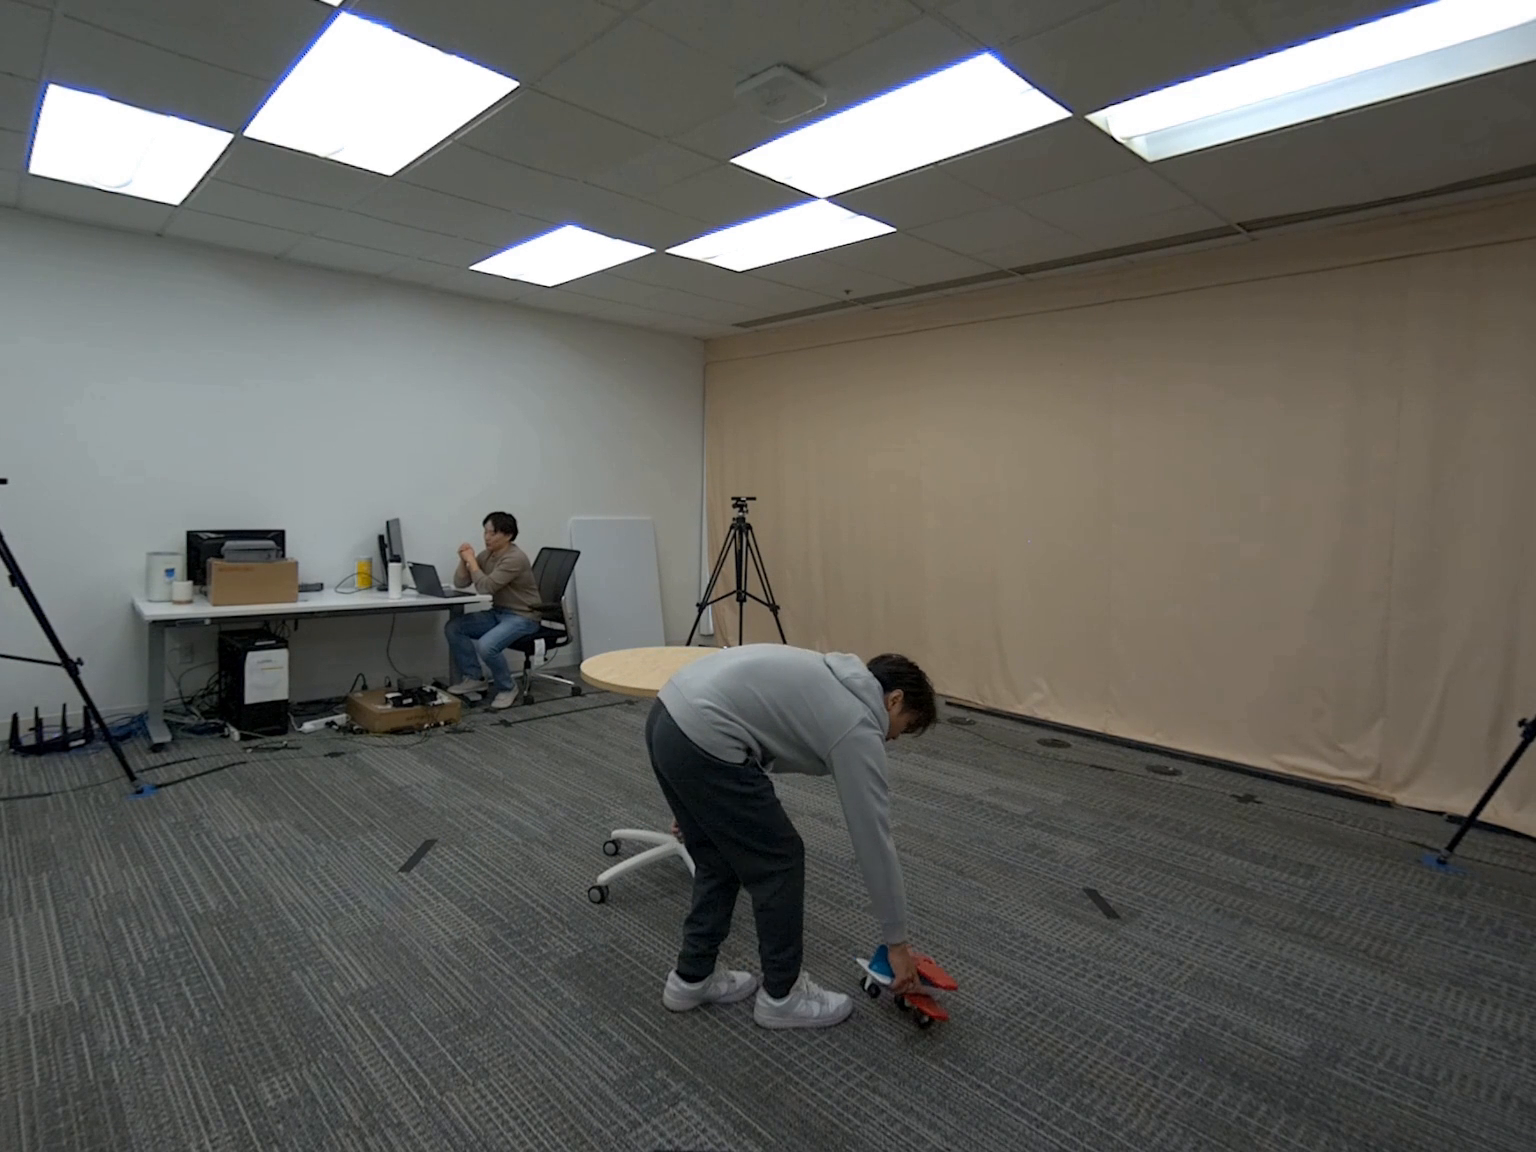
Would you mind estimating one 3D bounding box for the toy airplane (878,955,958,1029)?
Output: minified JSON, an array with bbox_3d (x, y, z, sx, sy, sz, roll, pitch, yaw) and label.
[{"bbox_3d":[0.370,1.093,2.242,0.258,0.157,0.251,25,-14,35],"label":"toy airplane"}]
